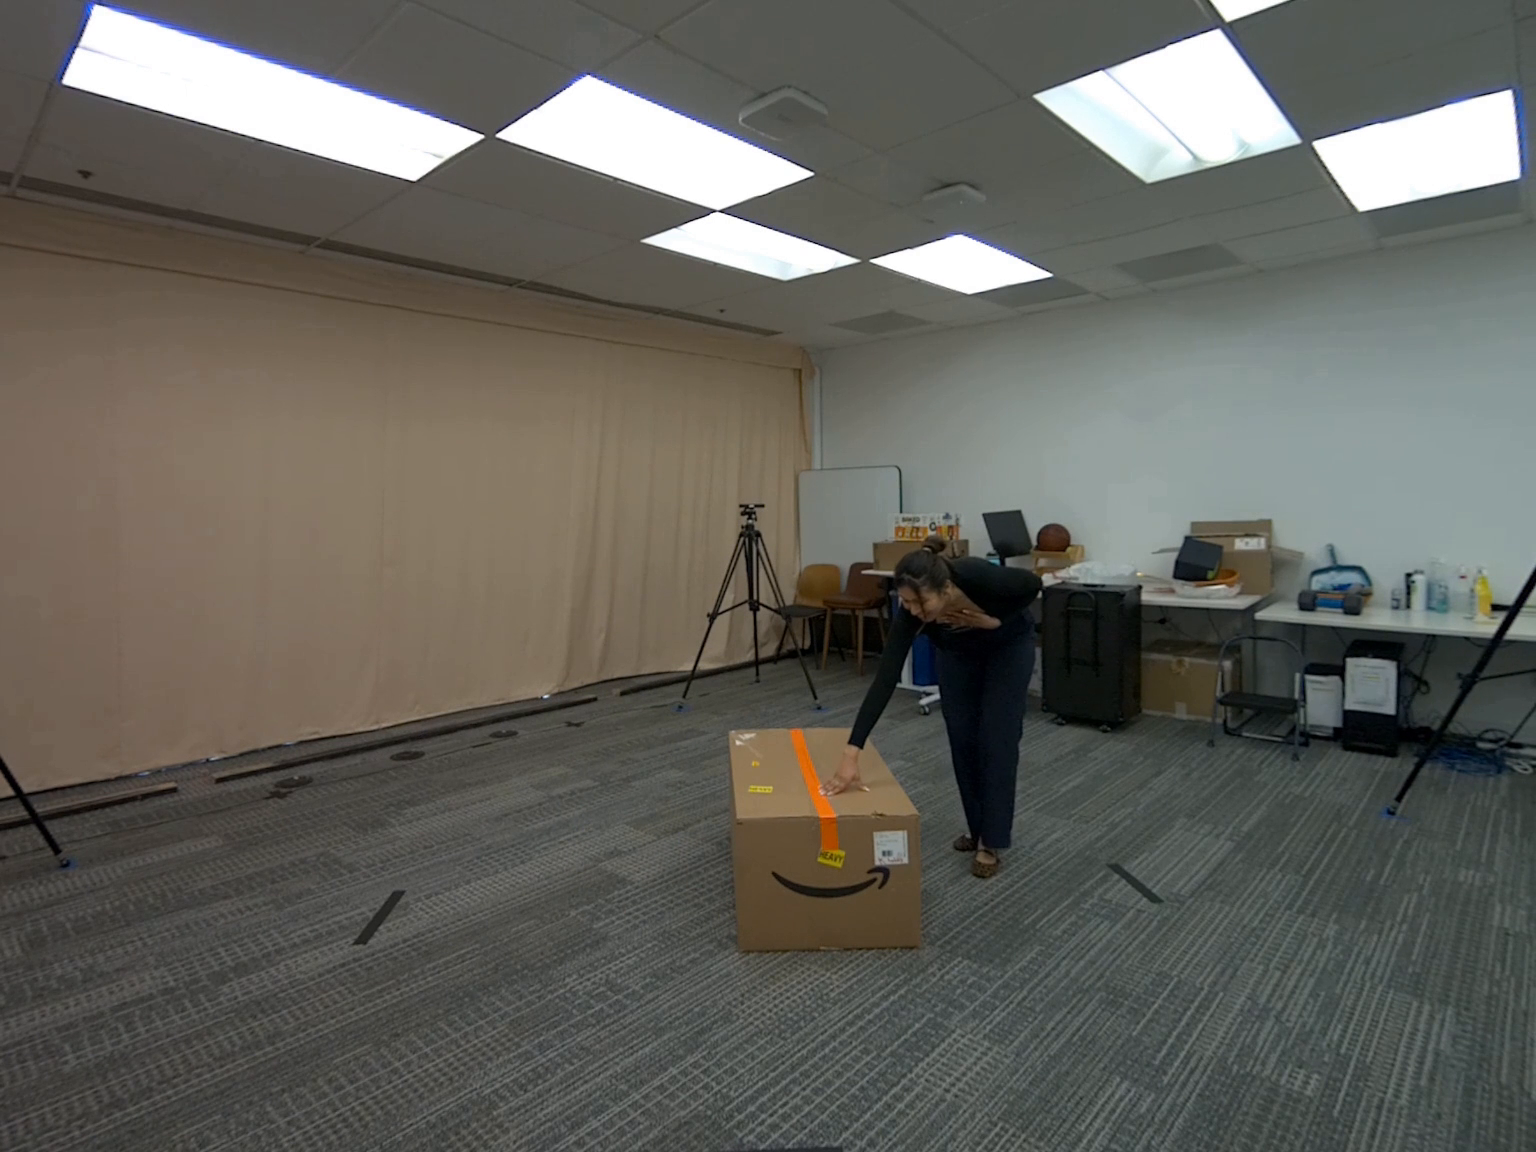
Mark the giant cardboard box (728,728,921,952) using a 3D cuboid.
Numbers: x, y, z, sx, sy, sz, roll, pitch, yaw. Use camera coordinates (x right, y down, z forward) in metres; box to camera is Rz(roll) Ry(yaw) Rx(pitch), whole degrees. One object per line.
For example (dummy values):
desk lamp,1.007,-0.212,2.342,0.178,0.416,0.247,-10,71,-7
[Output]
giant cardboard box,0.160,0.909,3.120,0.576,0.425,1.031,-1,5,-3
